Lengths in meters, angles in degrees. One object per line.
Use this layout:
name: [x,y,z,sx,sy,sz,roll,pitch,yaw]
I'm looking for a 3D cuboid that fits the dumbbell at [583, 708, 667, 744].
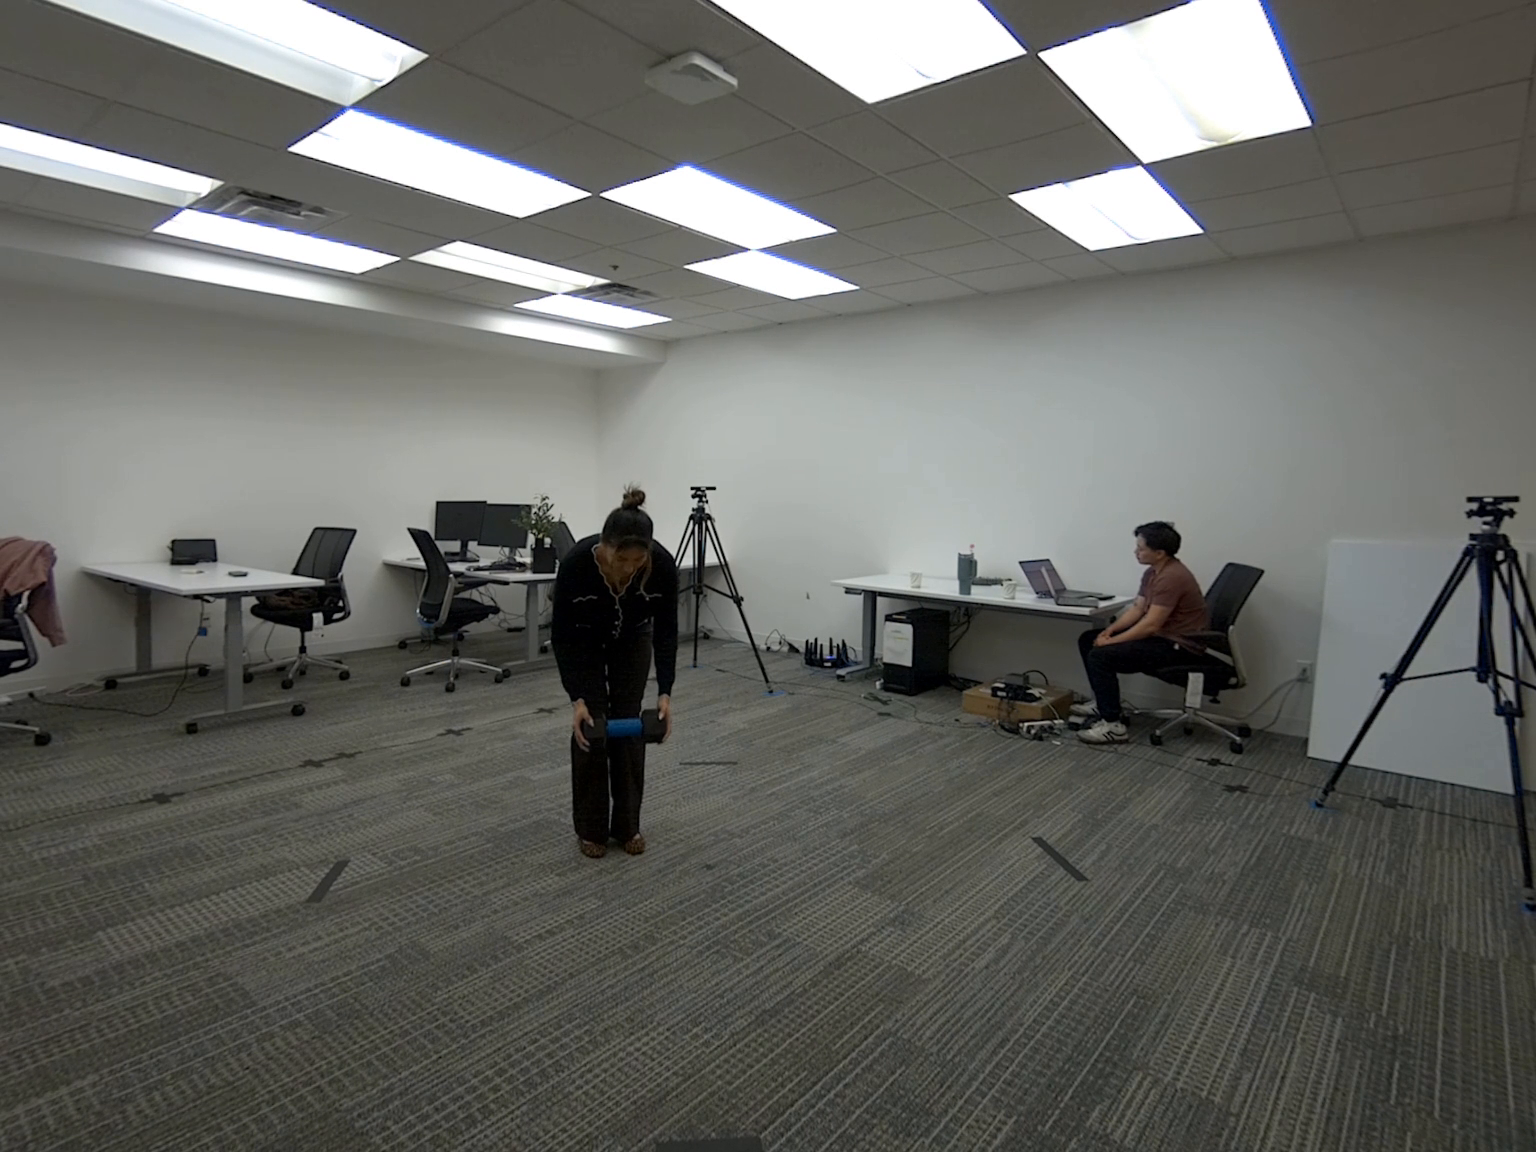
dumbbell: [-0.533,0.545,3.035,0.289,0.125,0.108,0,-14,-13]
